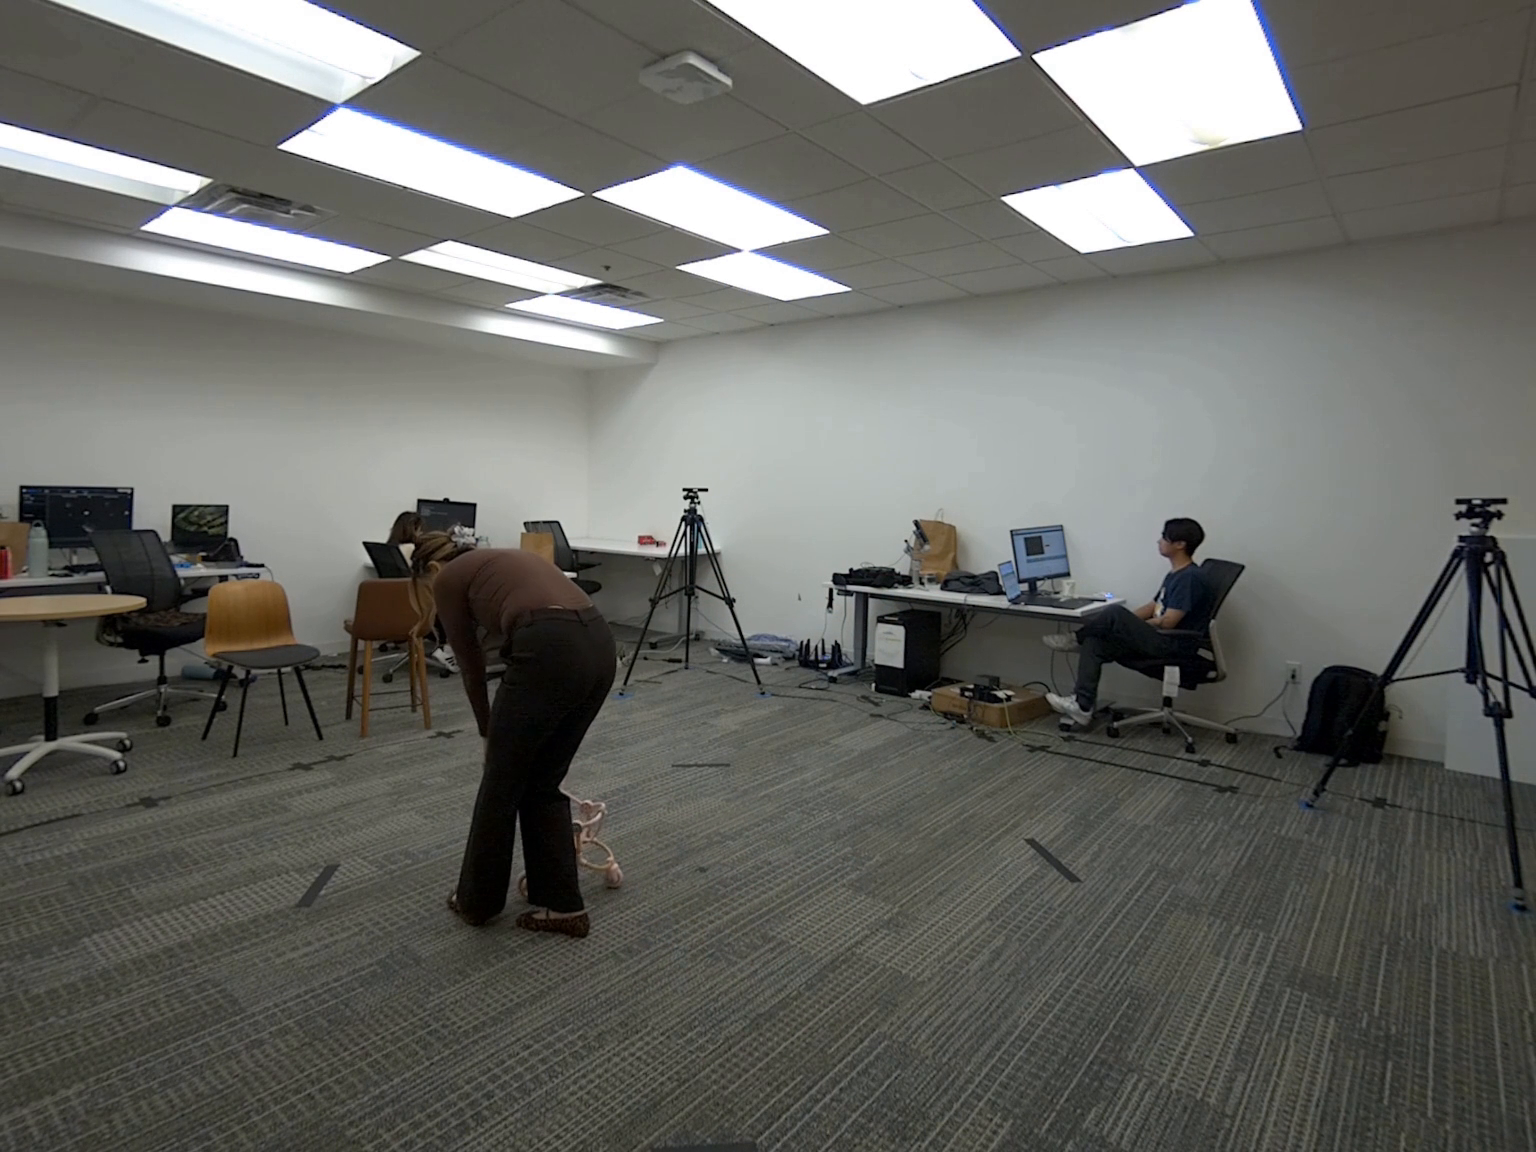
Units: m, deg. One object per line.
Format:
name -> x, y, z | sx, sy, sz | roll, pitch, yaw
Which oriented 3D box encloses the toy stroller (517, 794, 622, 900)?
toy stroller -> -0.737, 0.847, 2.953 | 0.343, 0.534, 0.280 | -17, 2, 7
